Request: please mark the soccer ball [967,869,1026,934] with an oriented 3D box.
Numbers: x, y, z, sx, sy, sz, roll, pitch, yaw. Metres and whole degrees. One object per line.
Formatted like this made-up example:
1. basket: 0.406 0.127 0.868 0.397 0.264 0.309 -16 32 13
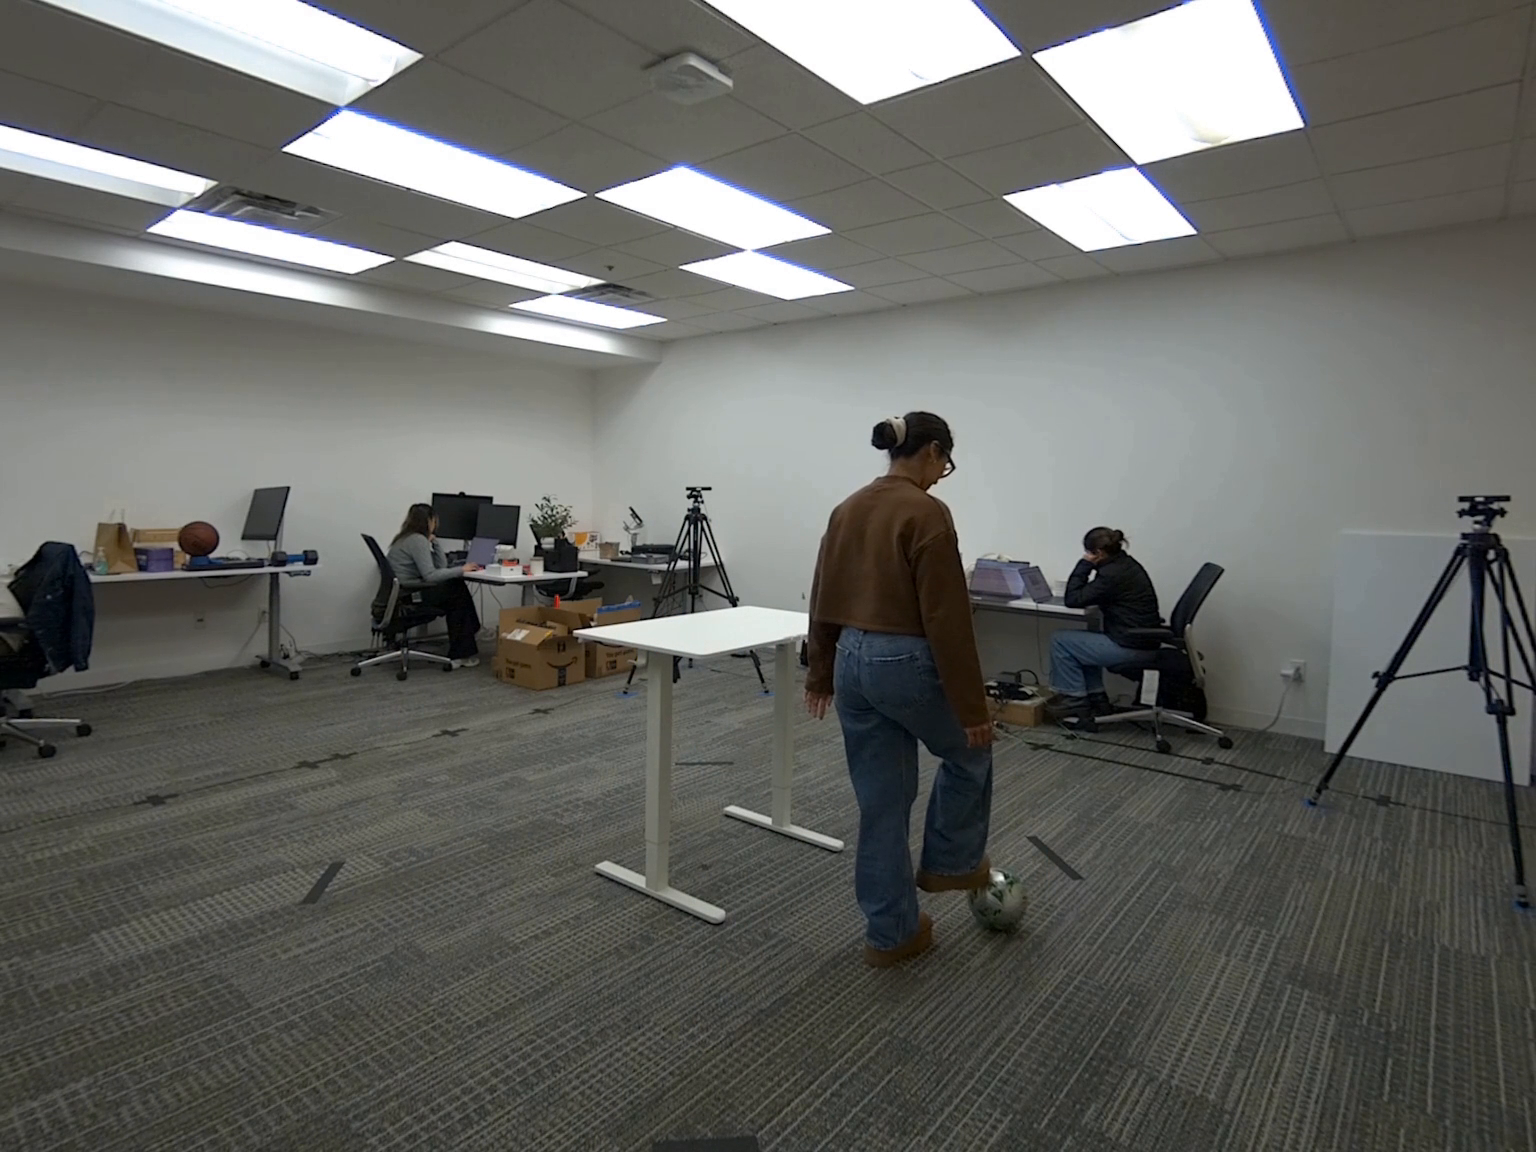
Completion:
1. soccer ball: 0.737 1.031 2.738 0.187 0.187 0.188 1 4 -2
